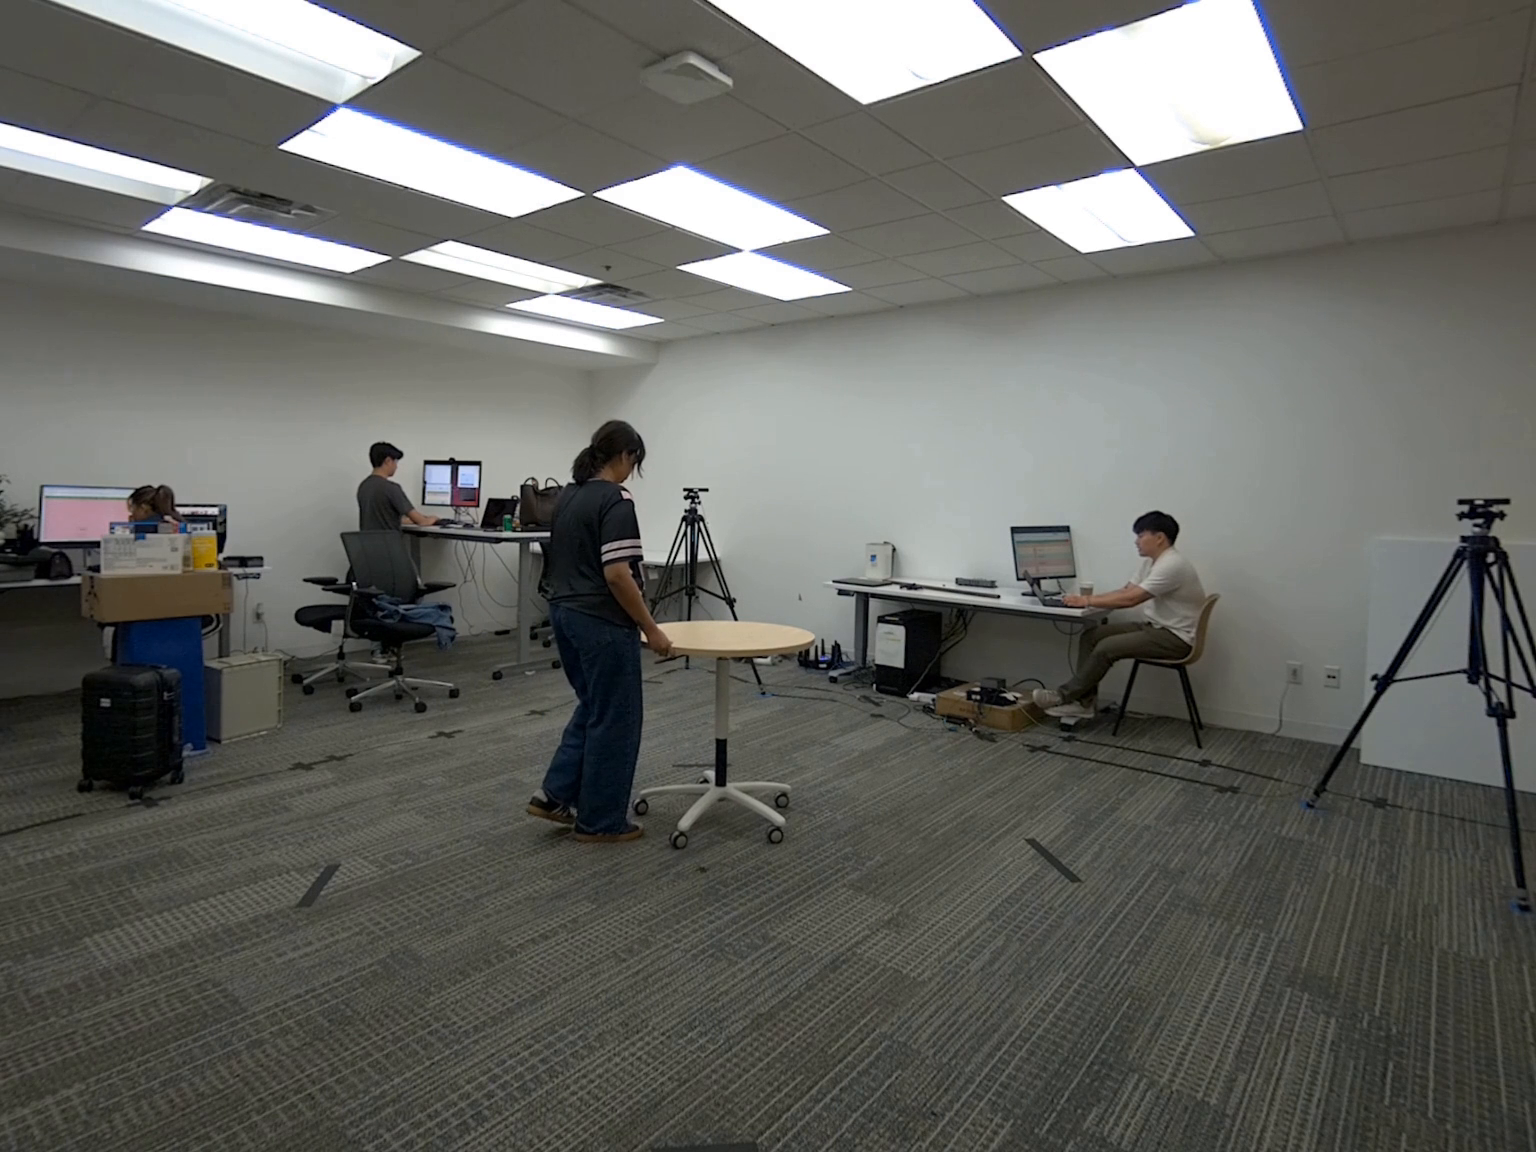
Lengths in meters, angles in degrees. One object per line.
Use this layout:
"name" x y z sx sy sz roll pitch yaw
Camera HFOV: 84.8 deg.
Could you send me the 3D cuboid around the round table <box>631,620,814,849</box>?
"round table" -0.204 0.639 3.579 0.763 0.791 0.767 0 4 -2
